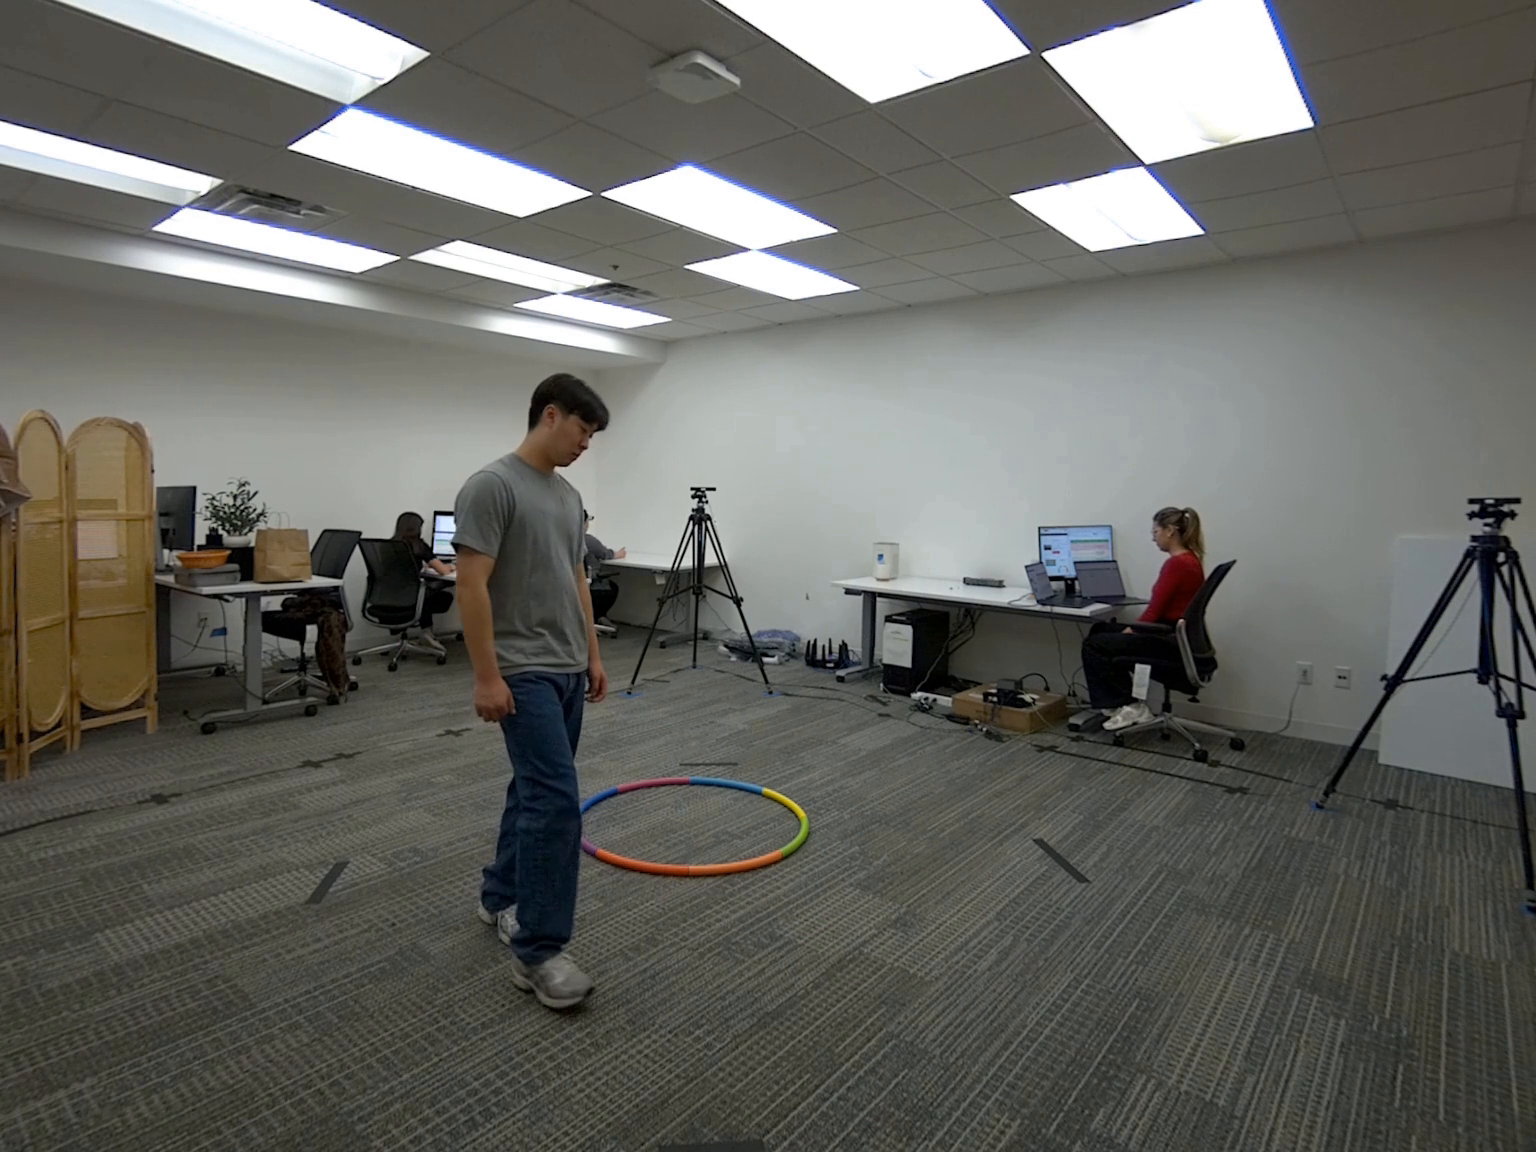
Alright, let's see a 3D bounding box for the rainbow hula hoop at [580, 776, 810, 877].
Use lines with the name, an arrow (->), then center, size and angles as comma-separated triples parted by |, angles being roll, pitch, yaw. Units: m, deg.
rainbow hula hoop -> -0.333, 0.991, 3.514 | 0.978, 0.035, 0.984 | 1, 6, -2
